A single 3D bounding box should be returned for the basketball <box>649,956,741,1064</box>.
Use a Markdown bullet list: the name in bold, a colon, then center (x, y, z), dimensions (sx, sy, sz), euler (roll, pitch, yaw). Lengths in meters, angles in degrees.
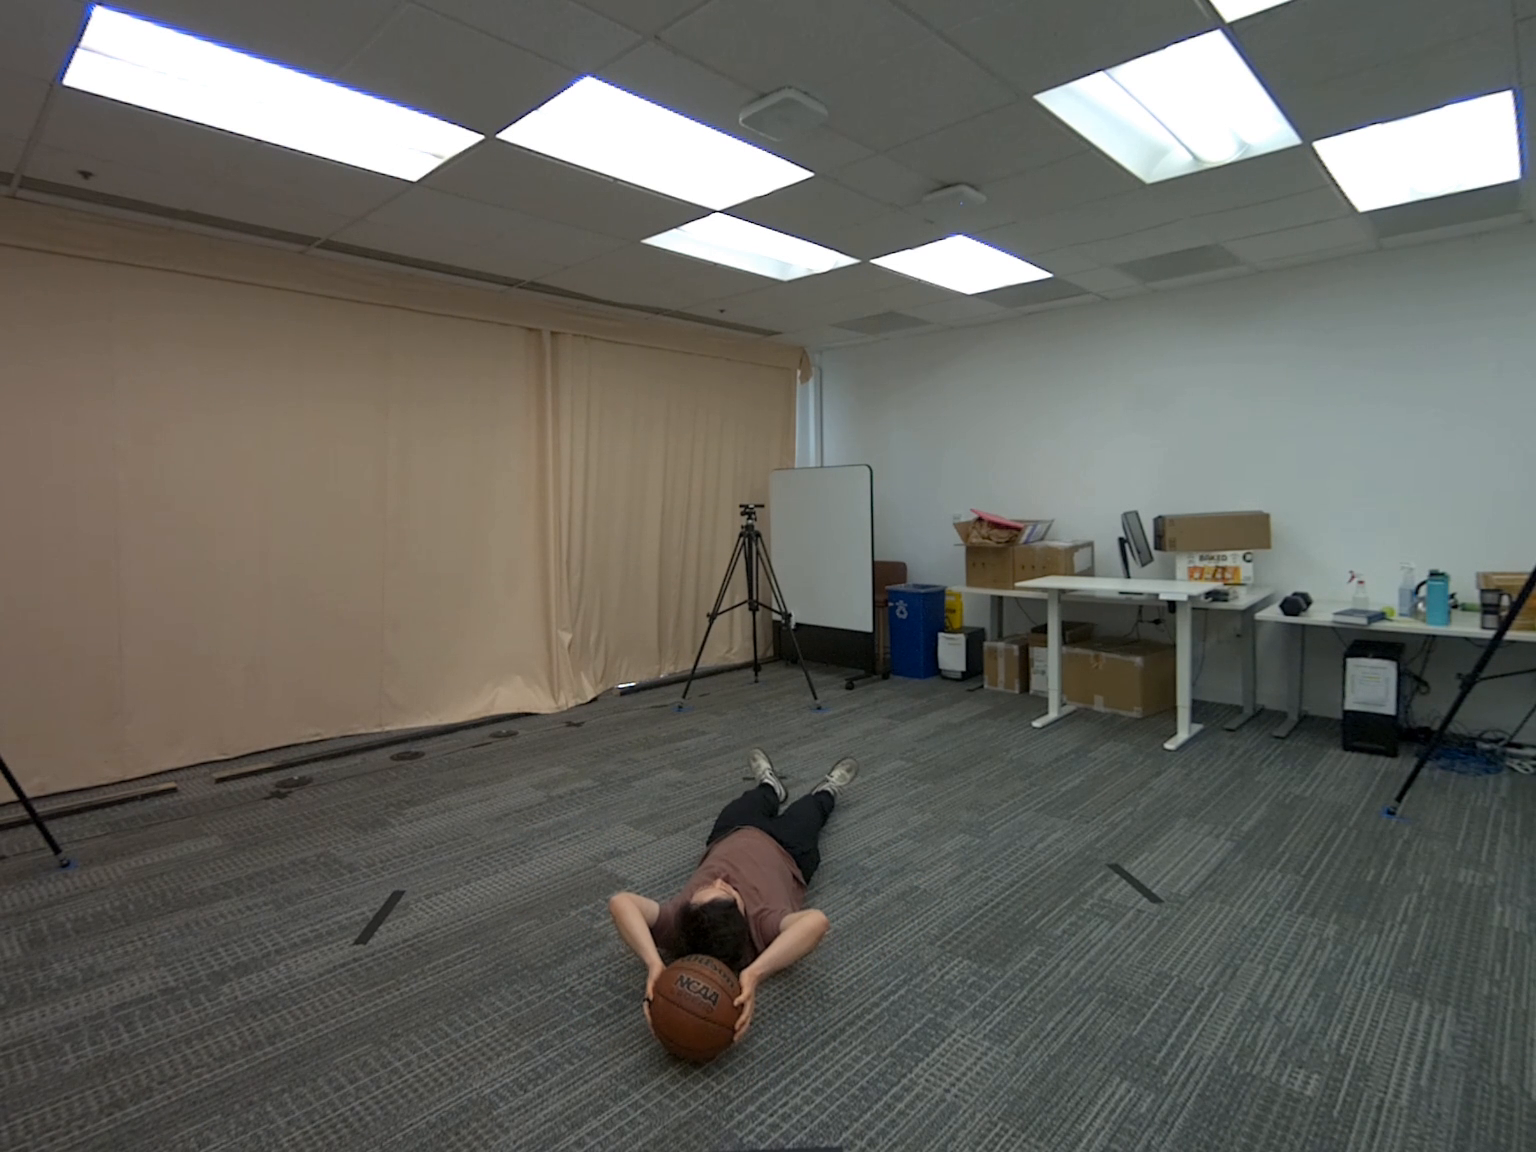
- **basketball**: center (-0.179, 1.079, 2.130), dimensions (0.235, 0.235, 0.237), euler (3, 5, -2)
